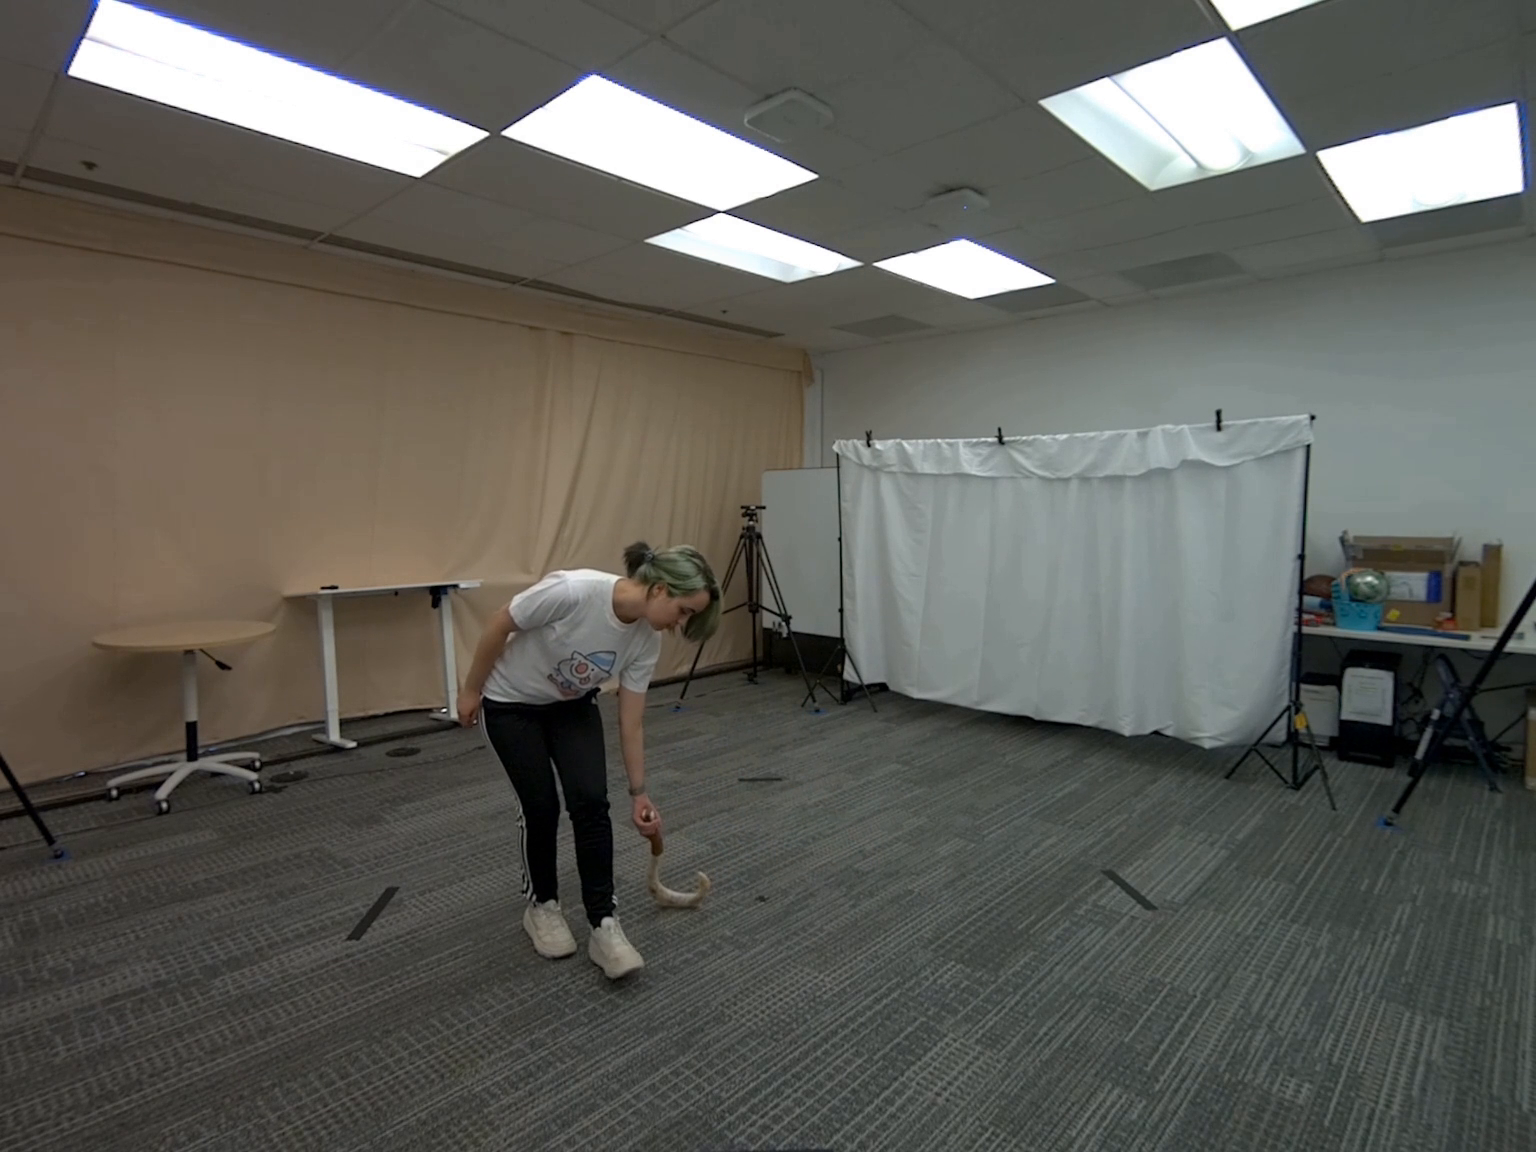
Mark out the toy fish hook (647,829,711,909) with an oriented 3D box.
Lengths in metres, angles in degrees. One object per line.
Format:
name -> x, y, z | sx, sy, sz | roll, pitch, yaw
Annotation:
toy fish hook -> -0.319, 0.949, 2.796 | 0.226, 0.495, 0.049 | -4, 36, 7
